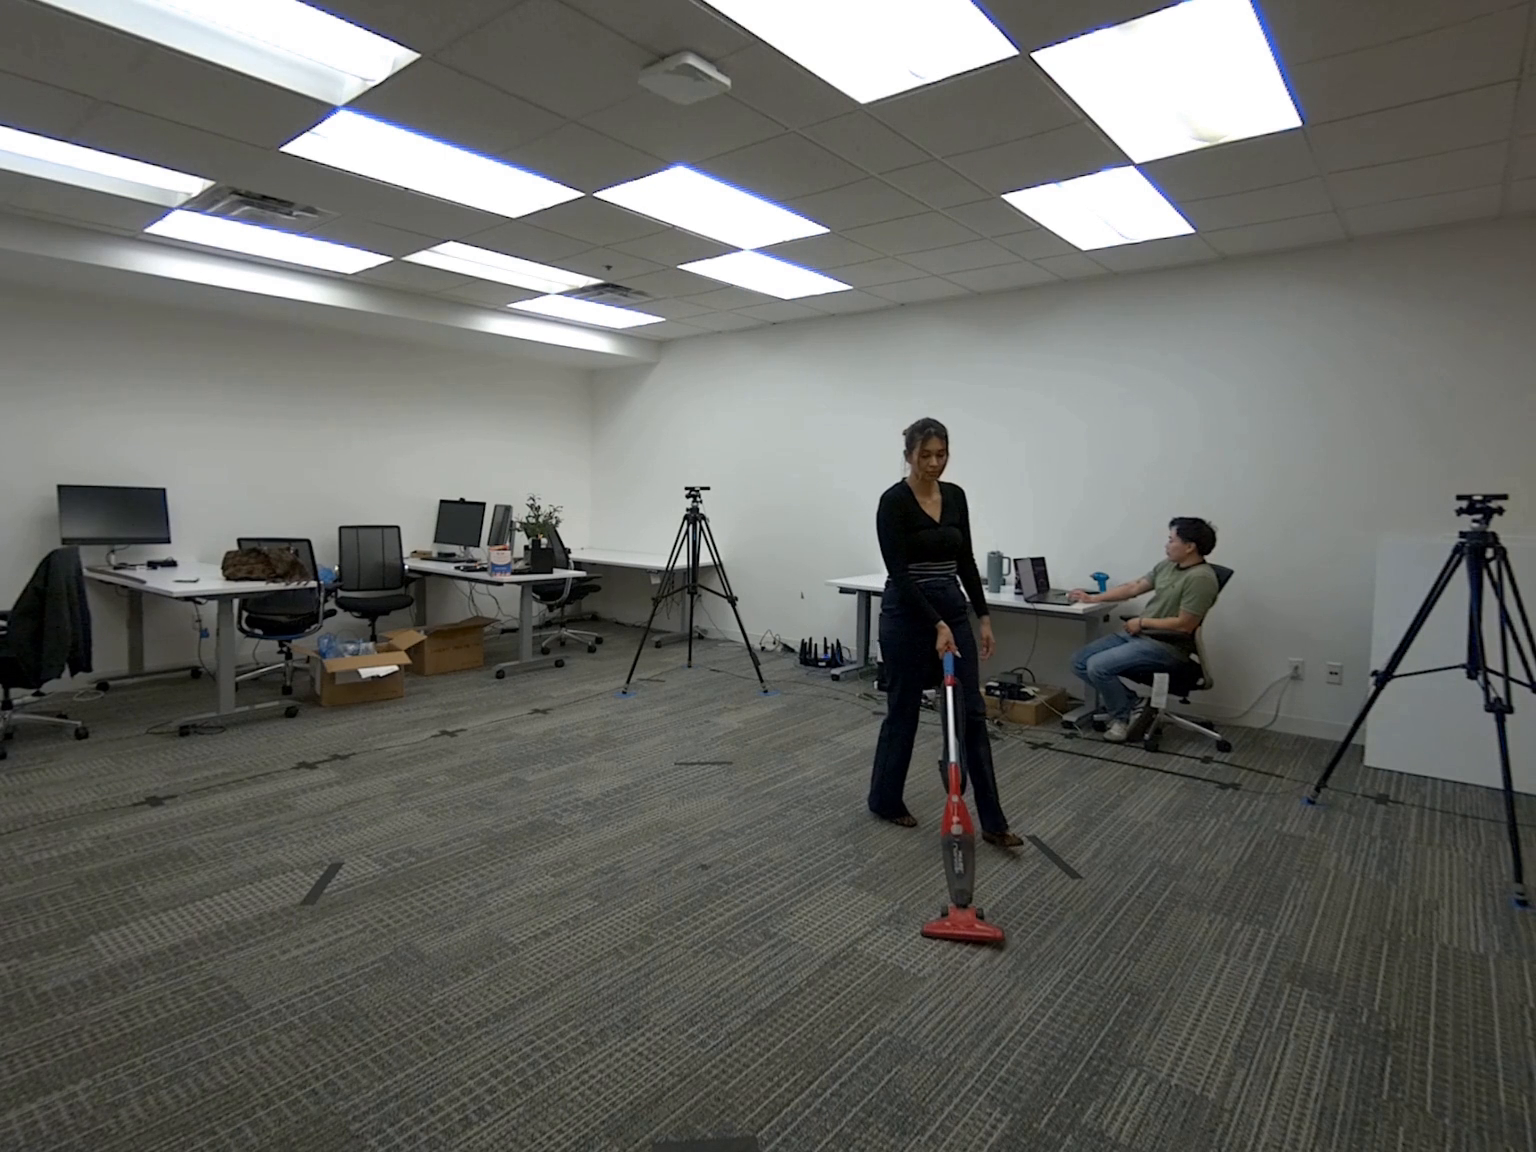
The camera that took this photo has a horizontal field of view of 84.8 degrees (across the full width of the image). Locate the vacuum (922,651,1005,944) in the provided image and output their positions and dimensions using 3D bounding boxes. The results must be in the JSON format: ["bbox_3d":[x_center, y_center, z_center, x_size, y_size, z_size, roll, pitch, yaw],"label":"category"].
[{"bbox_3d":[0.653,0.681,2.991,0.256,1.074,0.139,-2,-36,12],"label":"vacuum"}]
